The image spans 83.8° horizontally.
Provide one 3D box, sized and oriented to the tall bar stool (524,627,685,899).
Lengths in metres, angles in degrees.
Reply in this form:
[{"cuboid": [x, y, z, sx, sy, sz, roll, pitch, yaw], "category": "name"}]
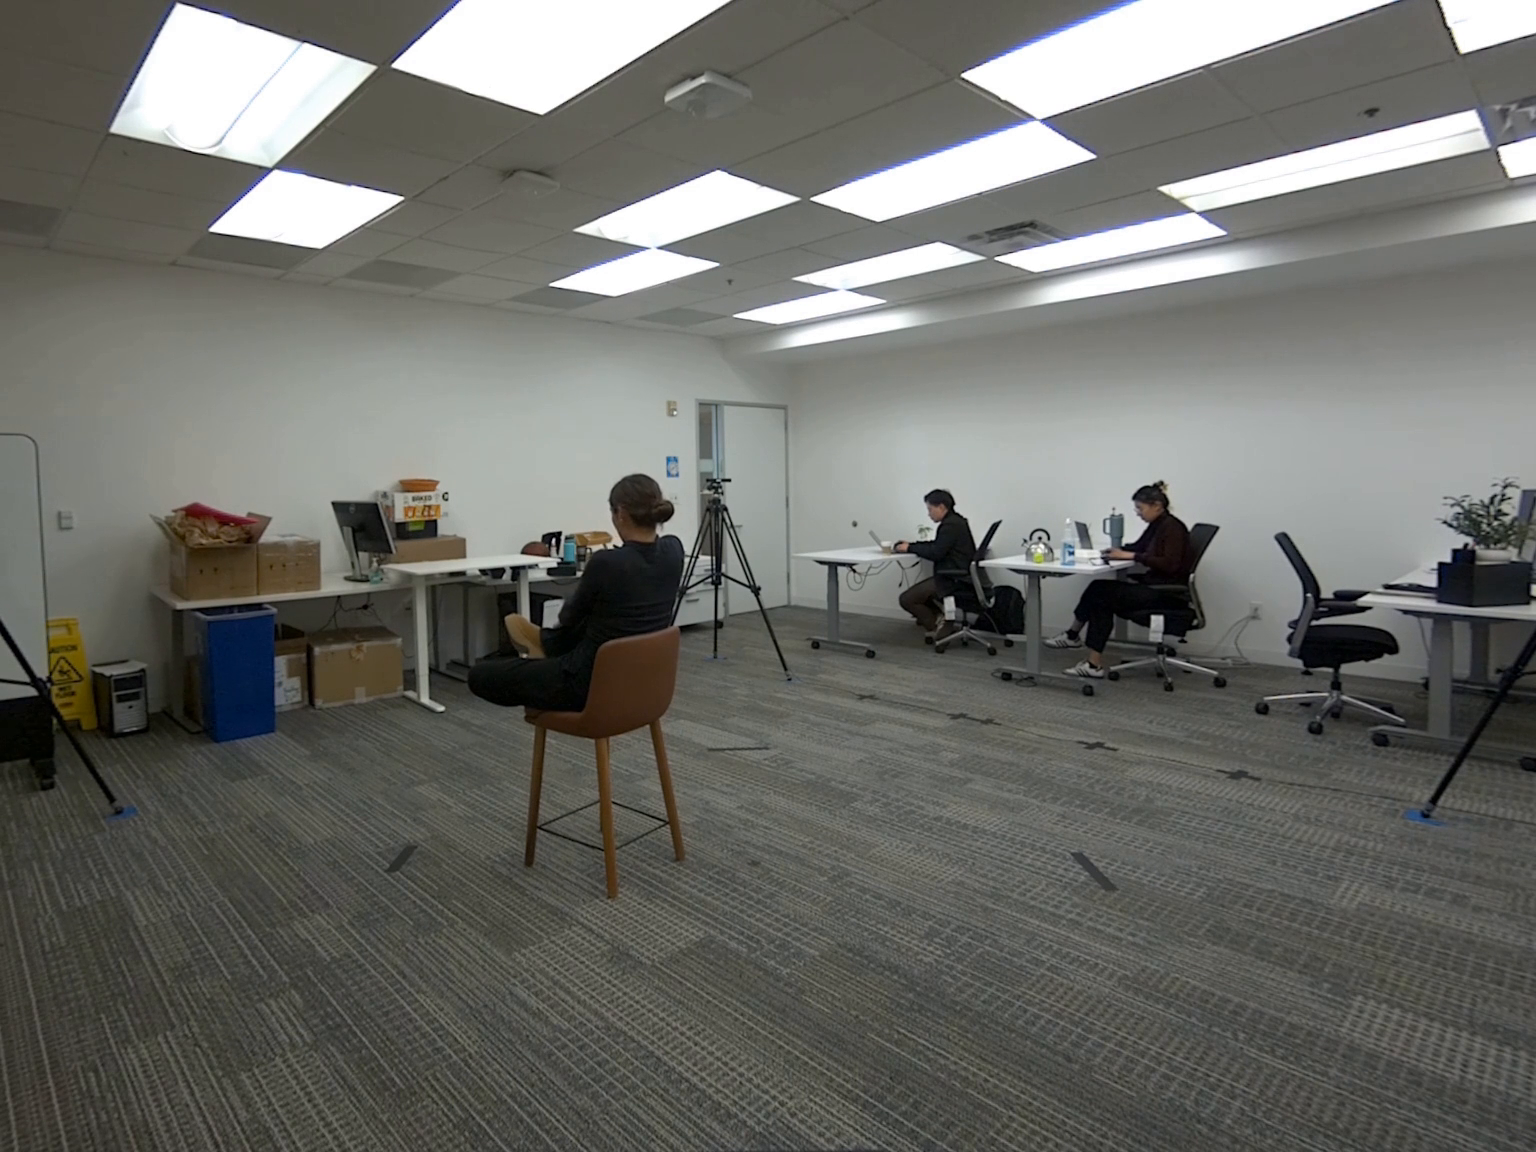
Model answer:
[{"cuboid": [-0.594, 0.620, 3.110, 0.482, 0.885, 0.445, 5, 7, 37], "category": "tall bar stool"}]
